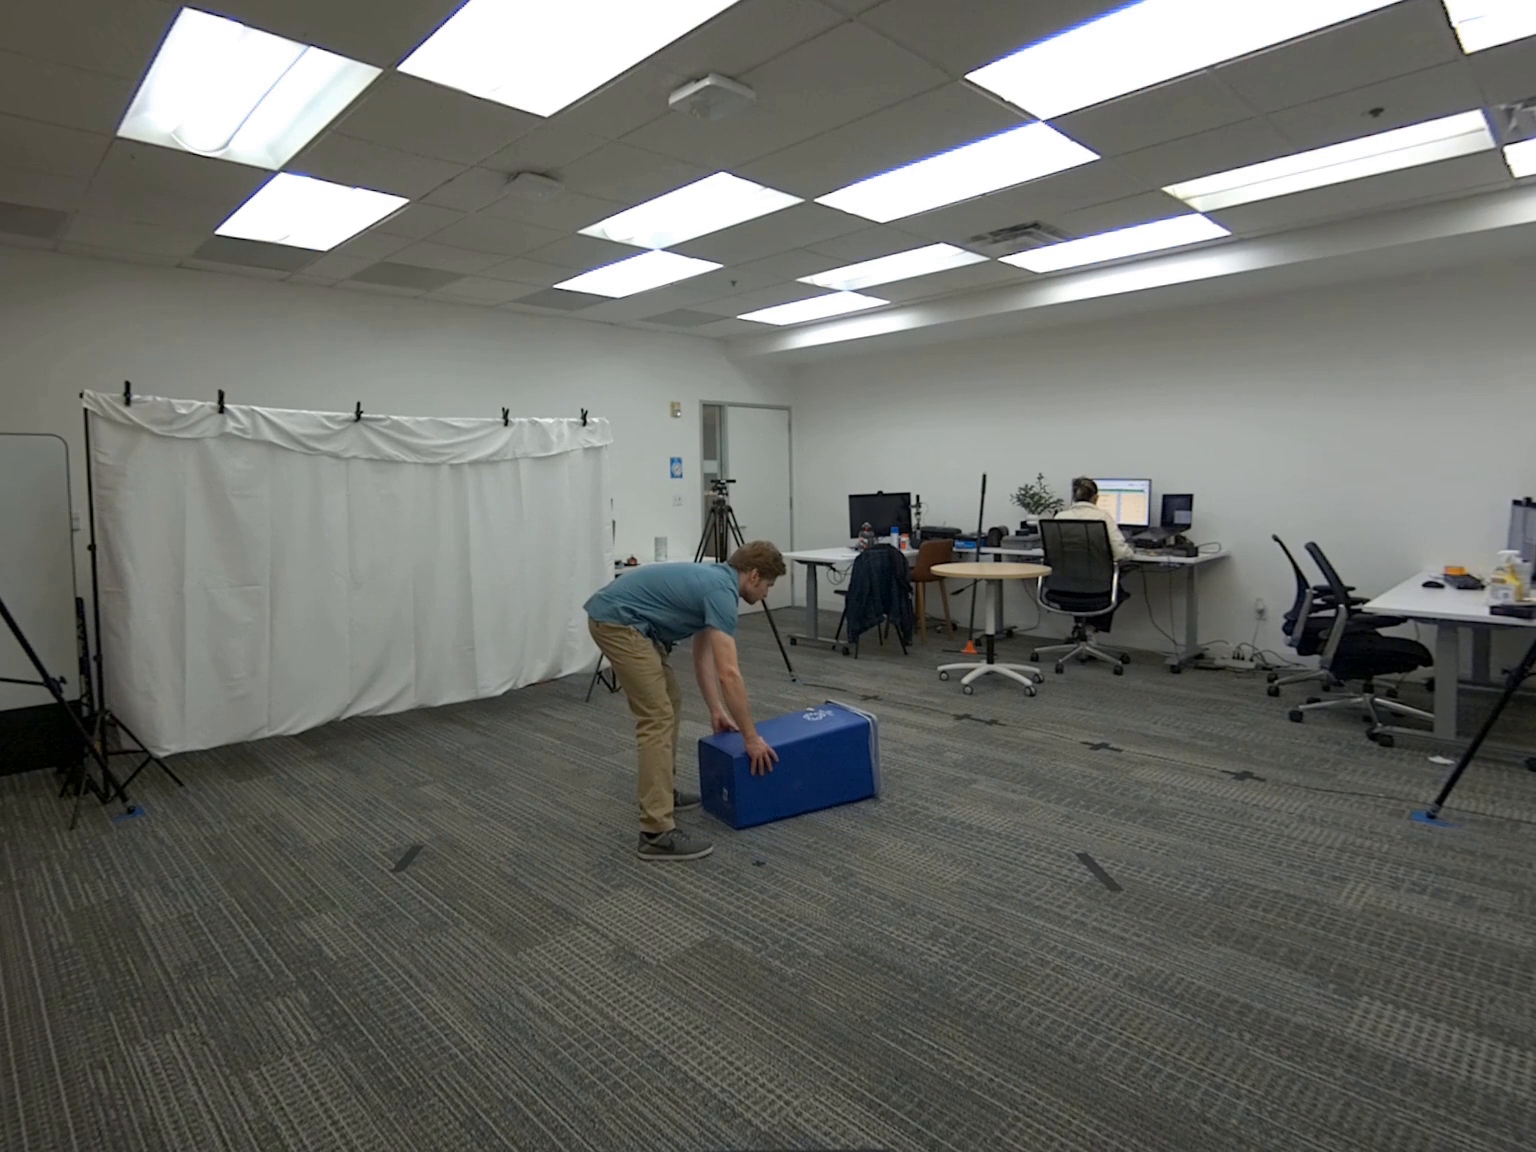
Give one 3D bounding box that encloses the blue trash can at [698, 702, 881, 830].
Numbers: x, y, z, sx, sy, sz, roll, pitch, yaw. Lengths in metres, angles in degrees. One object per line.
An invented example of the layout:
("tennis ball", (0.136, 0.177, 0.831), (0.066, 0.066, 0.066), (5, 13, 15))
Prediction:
("blue trash can", (0.091, 0.816, 3.682), (0.698, 0.376, 0.384), (-8, 7, -31))
